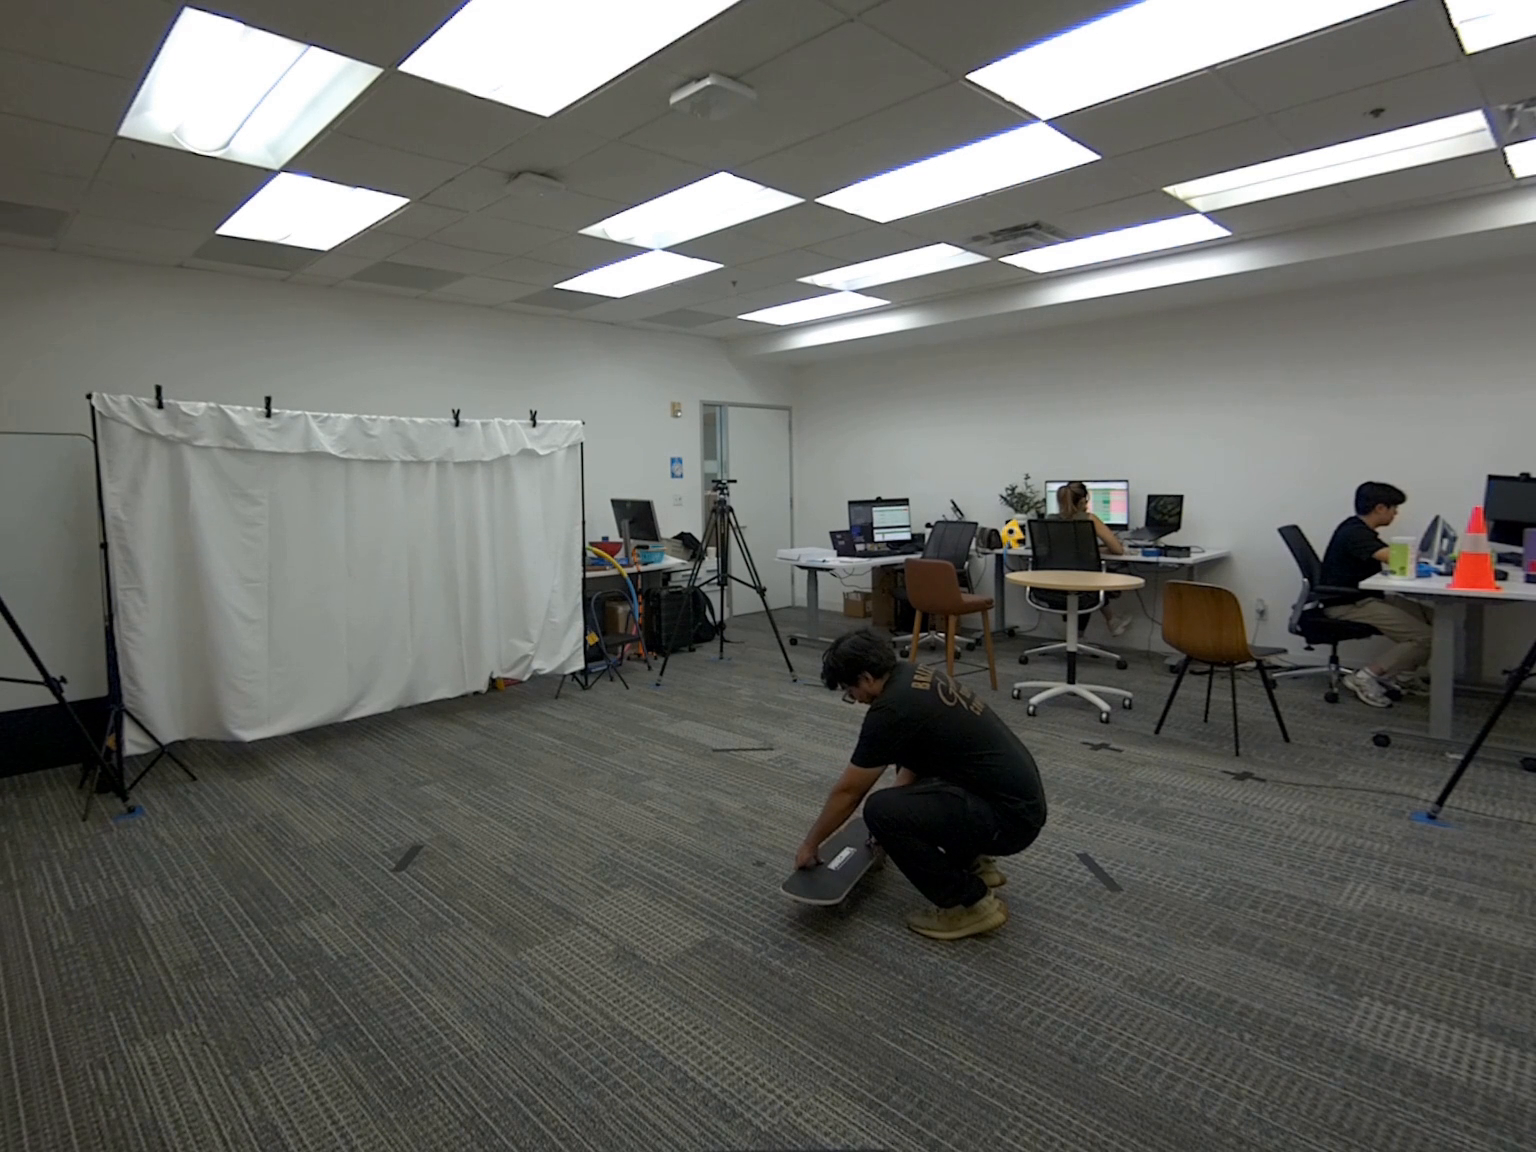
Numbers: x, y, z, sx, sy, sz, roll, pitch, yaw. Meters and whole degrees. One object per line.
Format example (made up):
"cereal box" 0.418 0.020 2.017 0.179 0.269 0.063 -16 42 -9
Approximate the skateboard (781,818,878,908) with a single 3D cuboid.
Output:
"skateboard" 0.260 0.997 2.918 0.198 0.110 0.770 3 5 23
